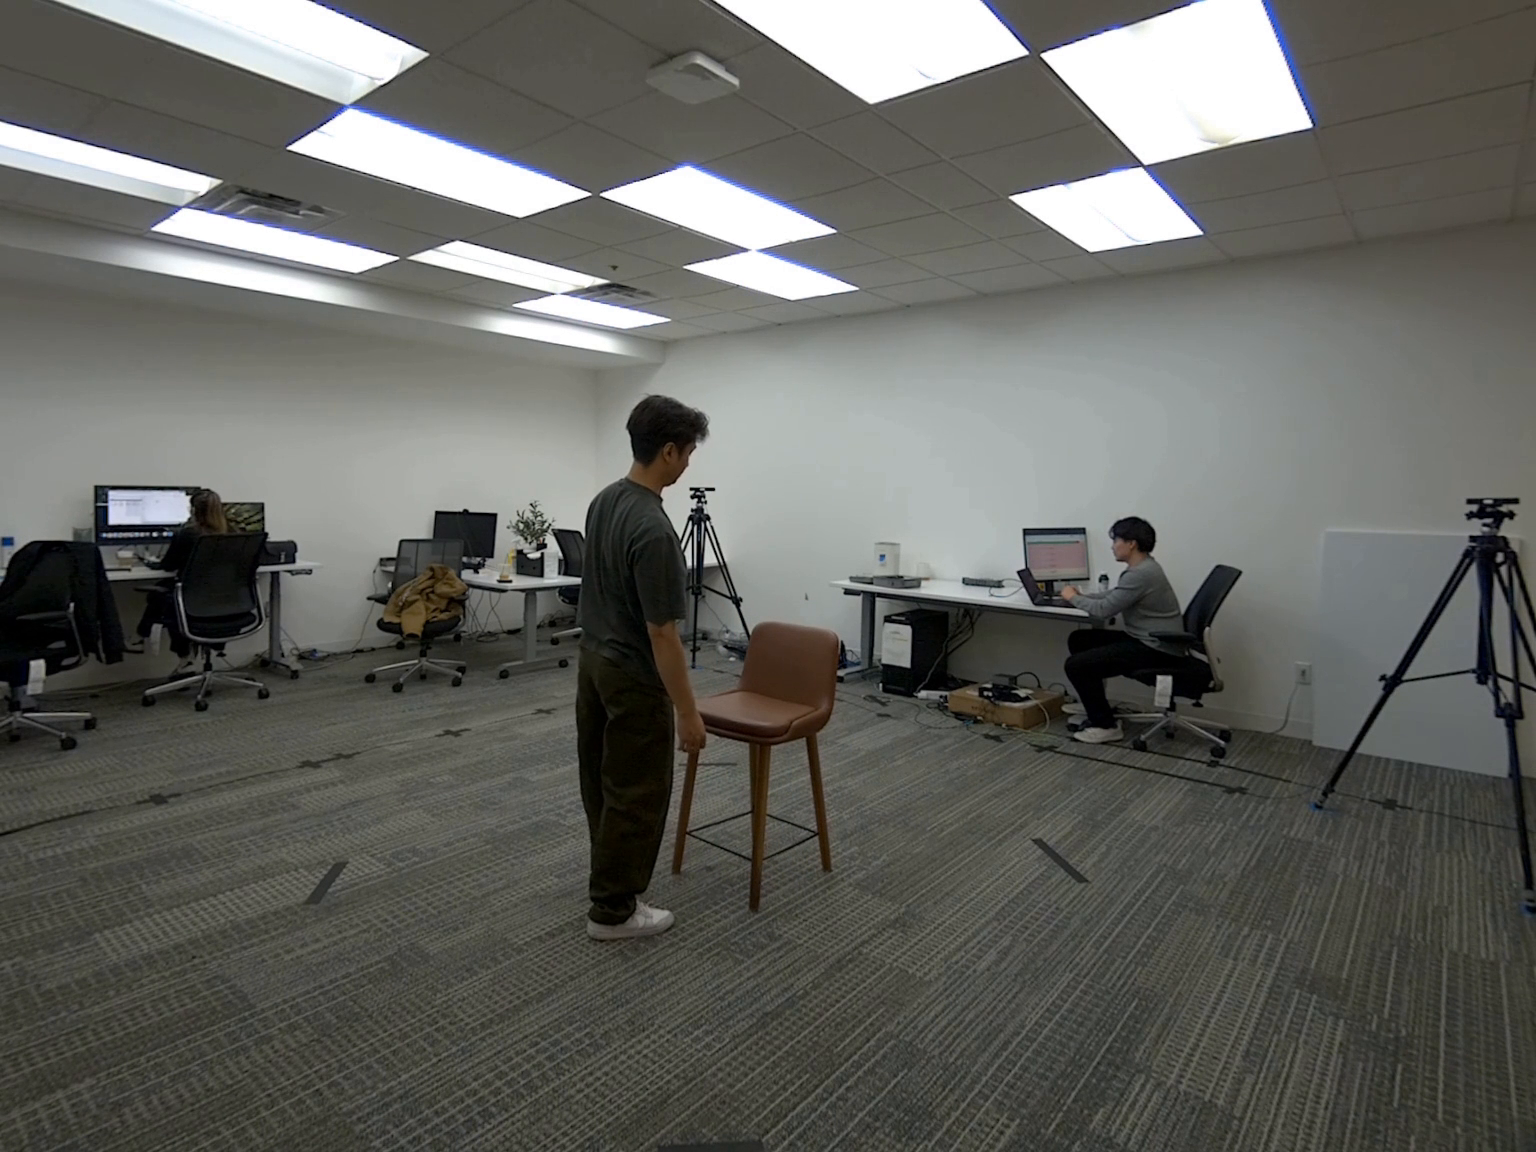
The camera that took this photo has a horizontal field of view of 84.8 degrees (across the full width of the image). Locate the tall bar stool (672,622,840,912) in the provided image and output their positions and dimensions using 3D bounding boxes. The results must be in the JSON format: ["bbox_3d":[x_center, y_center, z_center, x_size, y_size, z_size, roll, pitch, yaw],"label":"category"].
[{"bbox_3d":[-0.045,0.638,3.077,0.472,0.889,0.452,4,2,42],"label":"tall bar stool"}]
